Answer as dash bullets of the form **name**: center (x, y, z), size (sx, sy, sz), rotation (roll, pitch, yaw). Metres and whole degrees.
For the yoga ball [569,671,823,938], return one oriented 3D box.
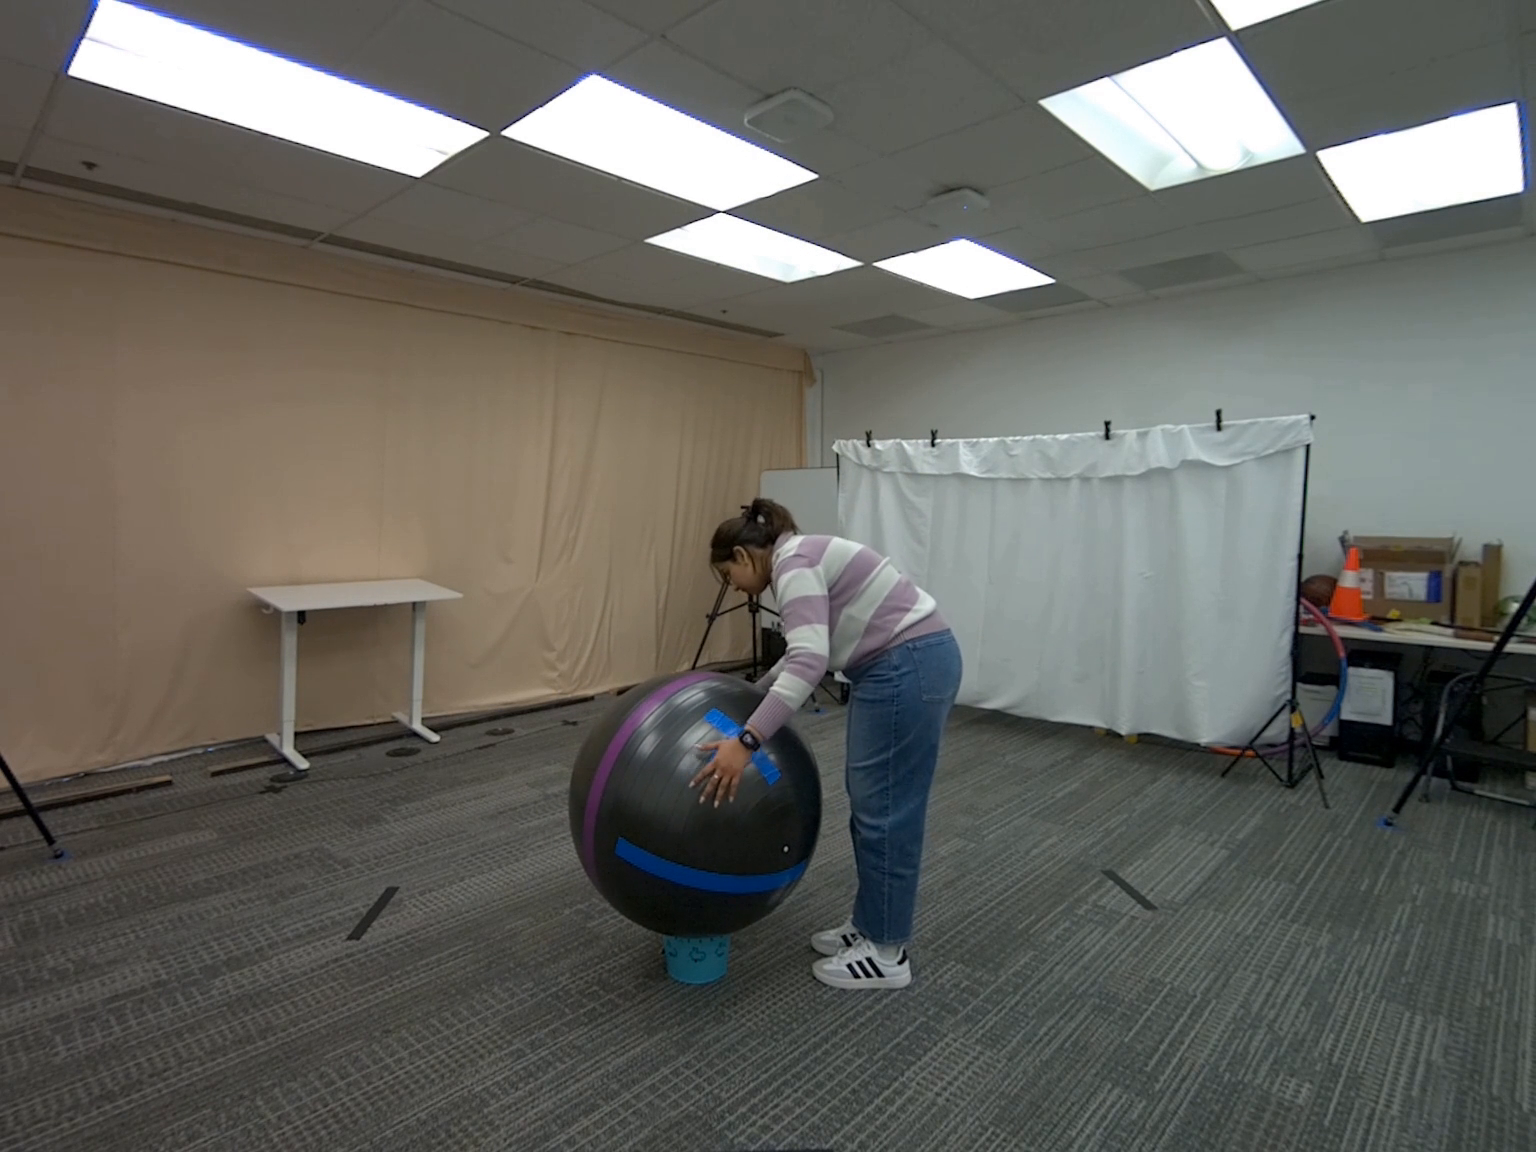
- **yoga ball**: center (-0.213, 0.673, 2.523), size (0.757, 0.756, 0.761), rotation (0, 4, -2)
